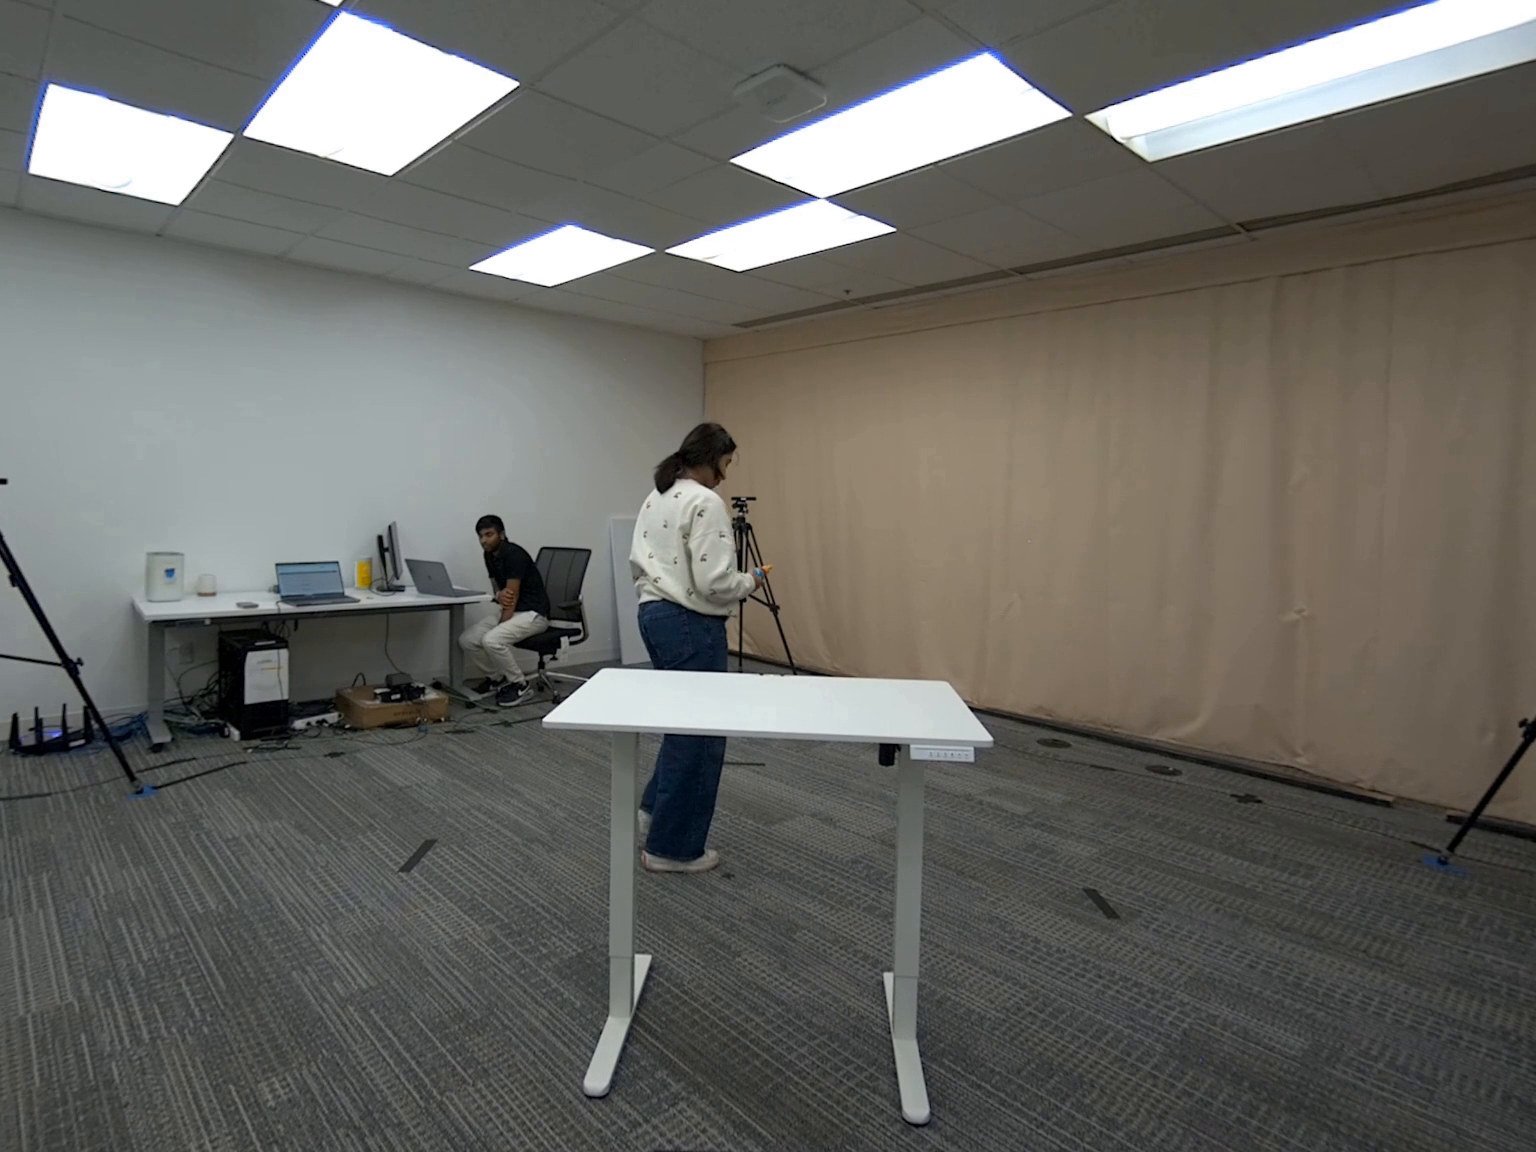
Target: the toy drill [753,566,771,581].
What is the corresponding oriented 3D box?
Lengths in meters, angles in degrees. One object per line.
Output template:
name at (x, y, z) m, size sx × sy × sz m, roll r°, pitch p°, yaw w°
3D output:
toy drill at (-0.082, -0.003, 3.320) m, size 0.169 × 0.060 × 0.149 m, roll -35°, pitch 23°, yaw -28°
